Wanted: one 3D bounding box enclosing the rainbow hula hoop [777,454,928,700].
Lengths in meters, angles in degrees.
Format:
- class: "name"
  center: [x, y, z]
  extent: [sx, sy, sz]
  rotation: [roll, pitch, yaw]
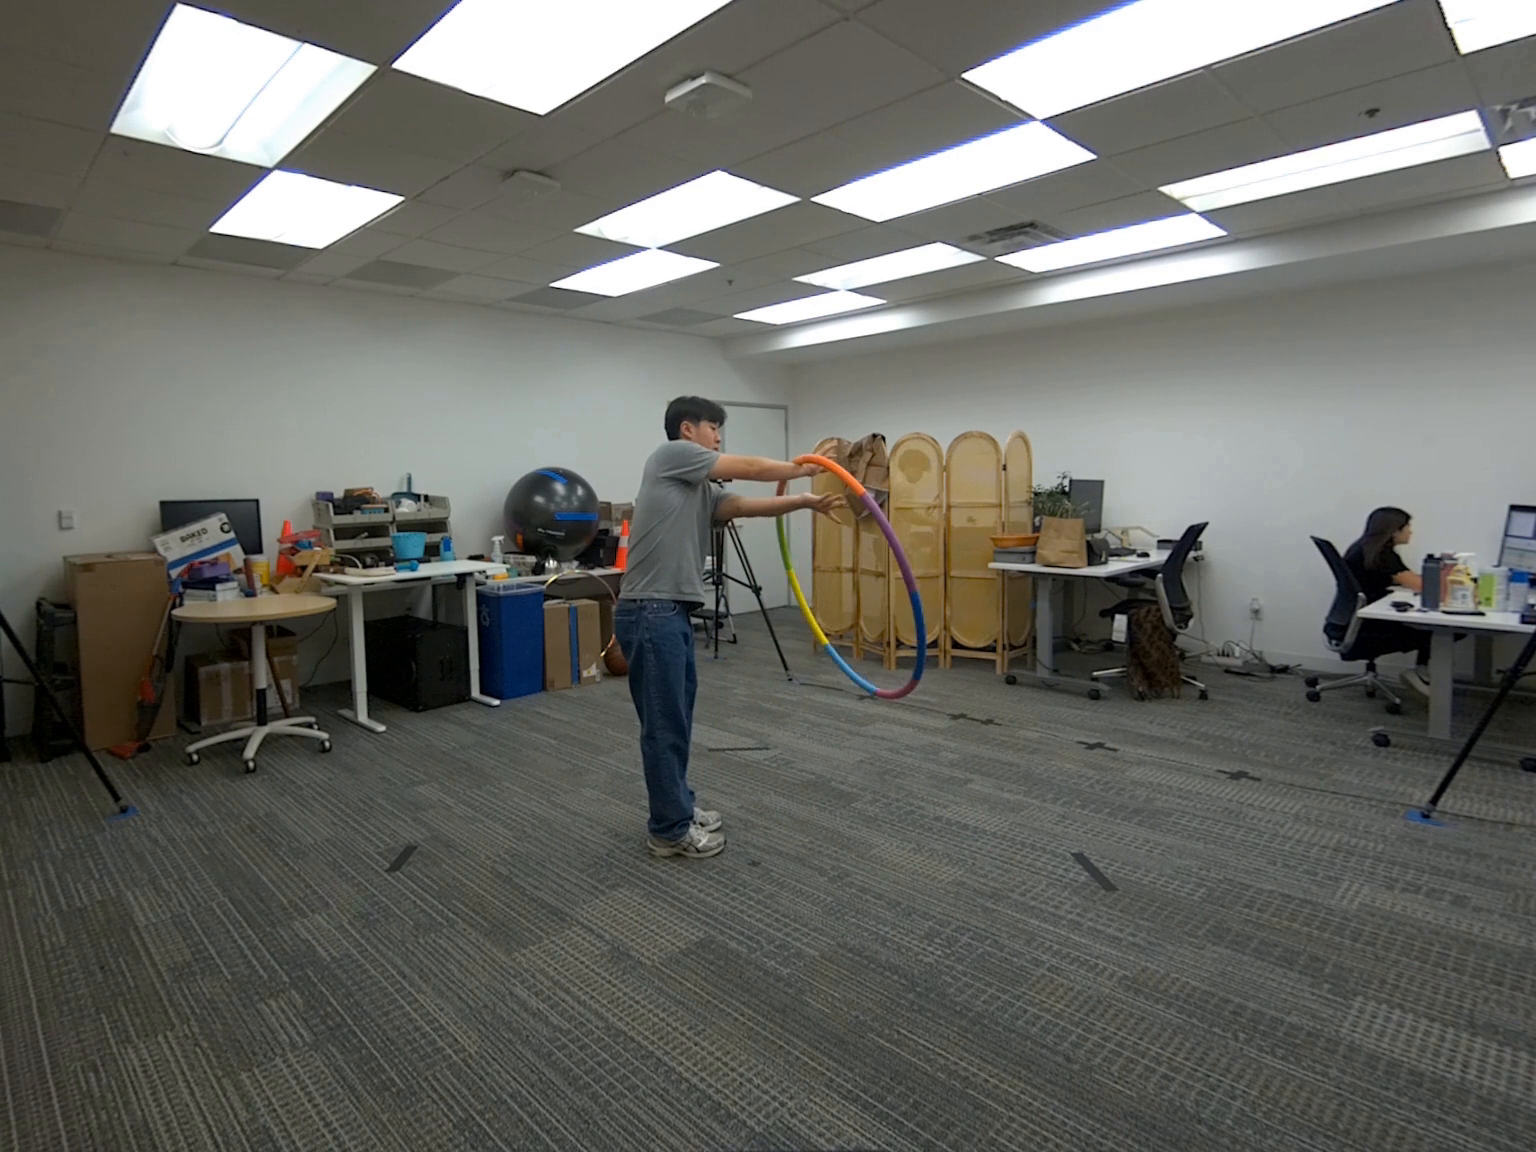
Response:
- class: "rainbow hula hoop"
  center: [0.277, 0.020, 3.300]
  extent: [0.035, 0.968, 1.001]
  rotation: [-20, 11, -20]
